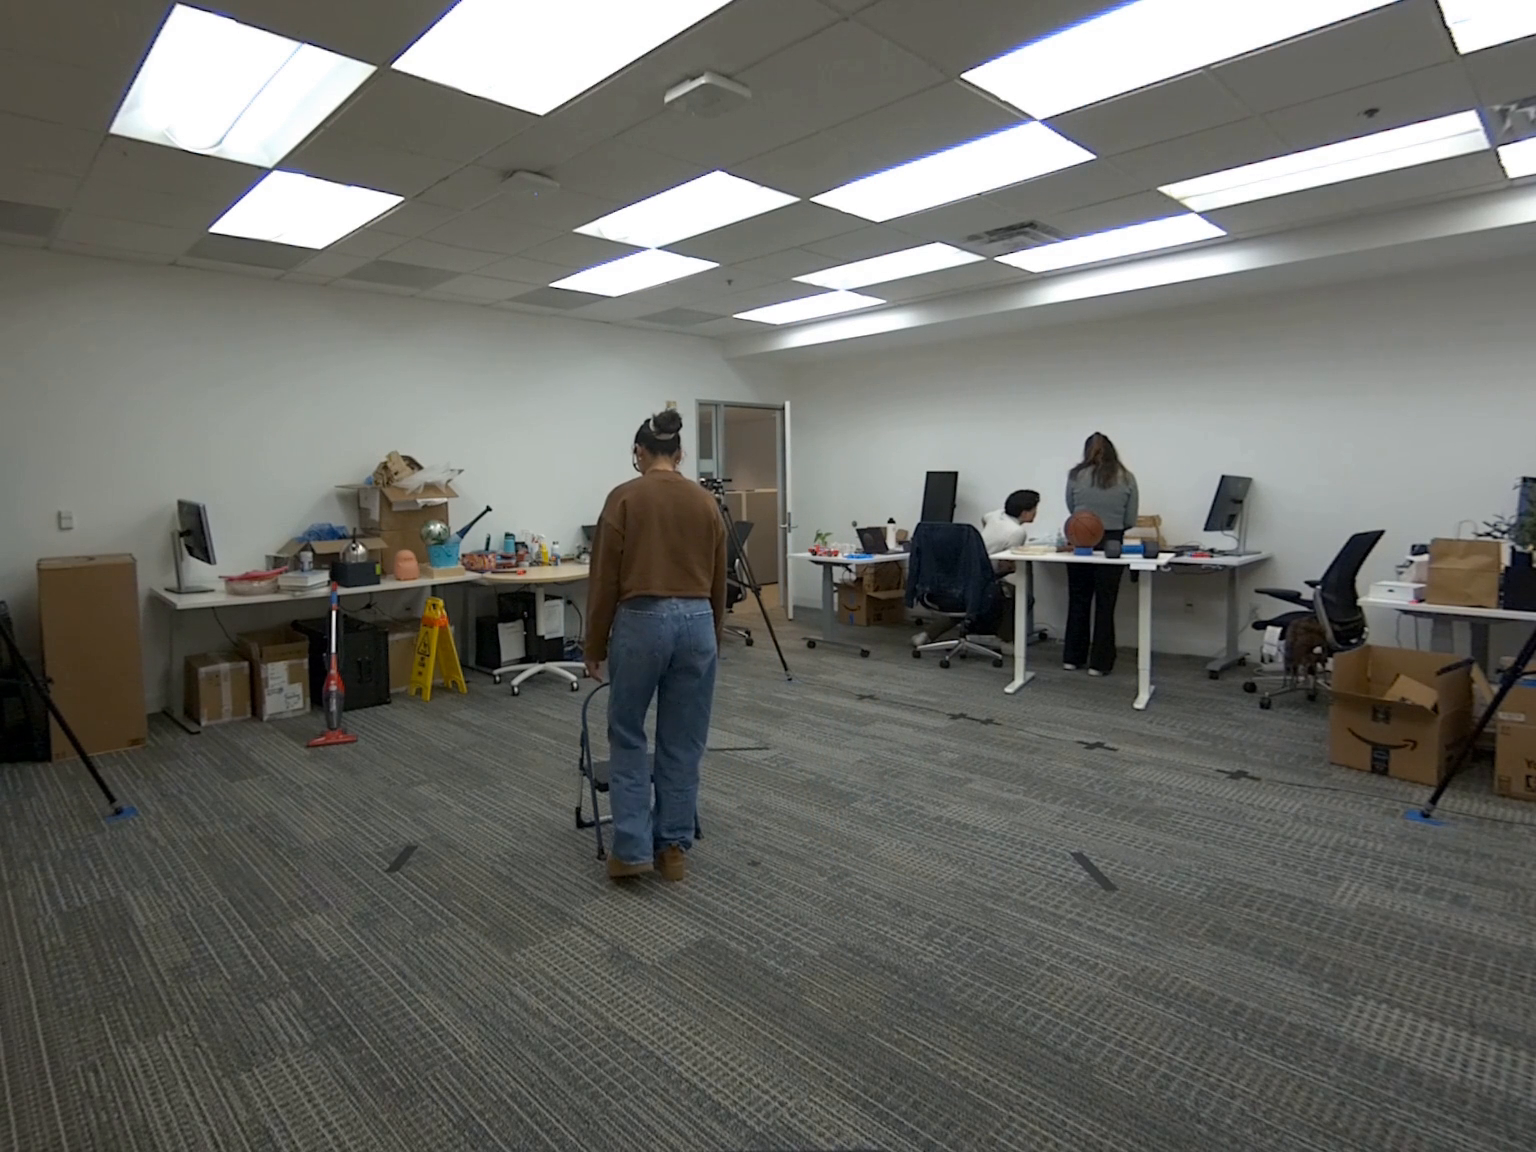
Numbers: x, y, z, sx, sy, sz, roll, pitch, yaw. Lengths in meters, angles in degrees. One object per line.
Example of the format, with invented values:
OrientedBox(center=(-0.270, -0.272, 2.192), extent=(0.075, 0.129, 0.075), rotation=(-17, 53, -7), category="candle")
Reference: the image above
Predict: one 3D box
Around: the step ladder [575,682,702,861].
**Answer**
OrientedBox(center=(-0.523, 0.719, 3.382), extent=(0.421, 0.604, 0.358), rotation=(-4, 5, -27), category="step ladder")
